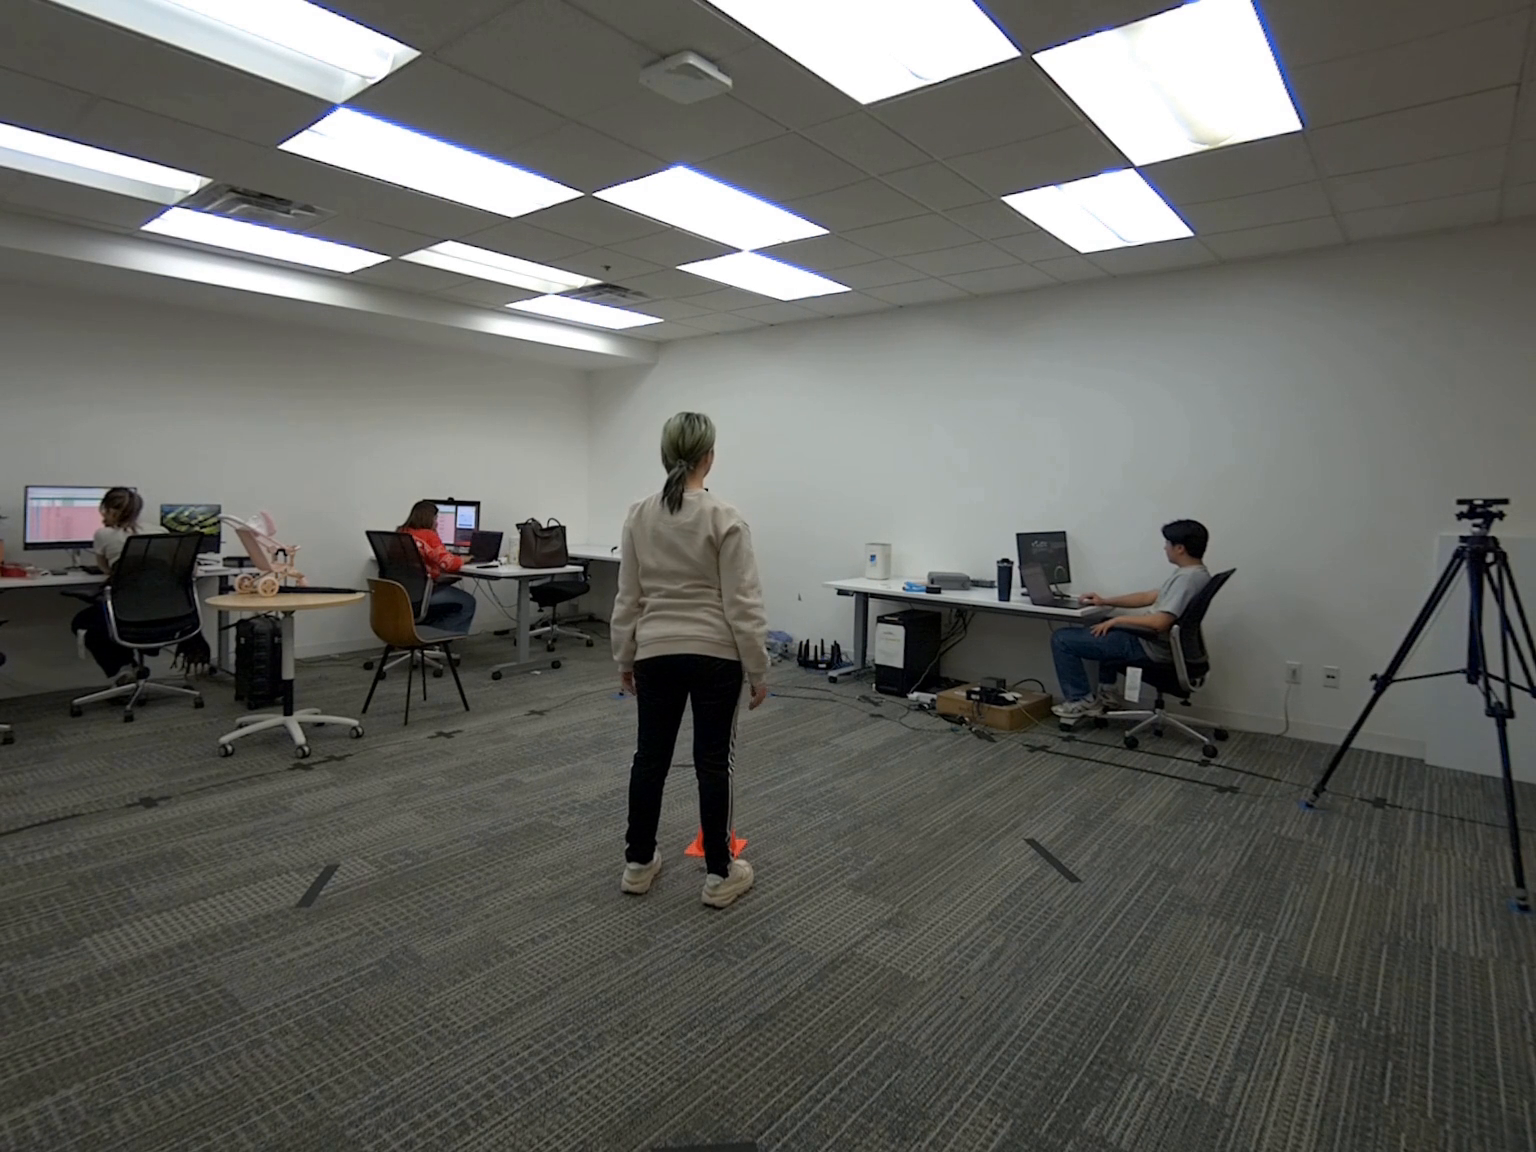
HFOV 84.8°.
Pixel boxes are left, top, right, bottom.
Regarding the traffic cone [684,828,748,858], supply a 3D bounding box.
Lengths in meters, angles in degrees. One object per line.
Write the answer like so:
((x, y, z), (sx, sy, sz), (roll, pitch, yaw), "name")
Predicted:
((-0.202, 0.863, 3.291), (0.209, 0.382, 0.200), (3, 4, 18), "traffic cone")
